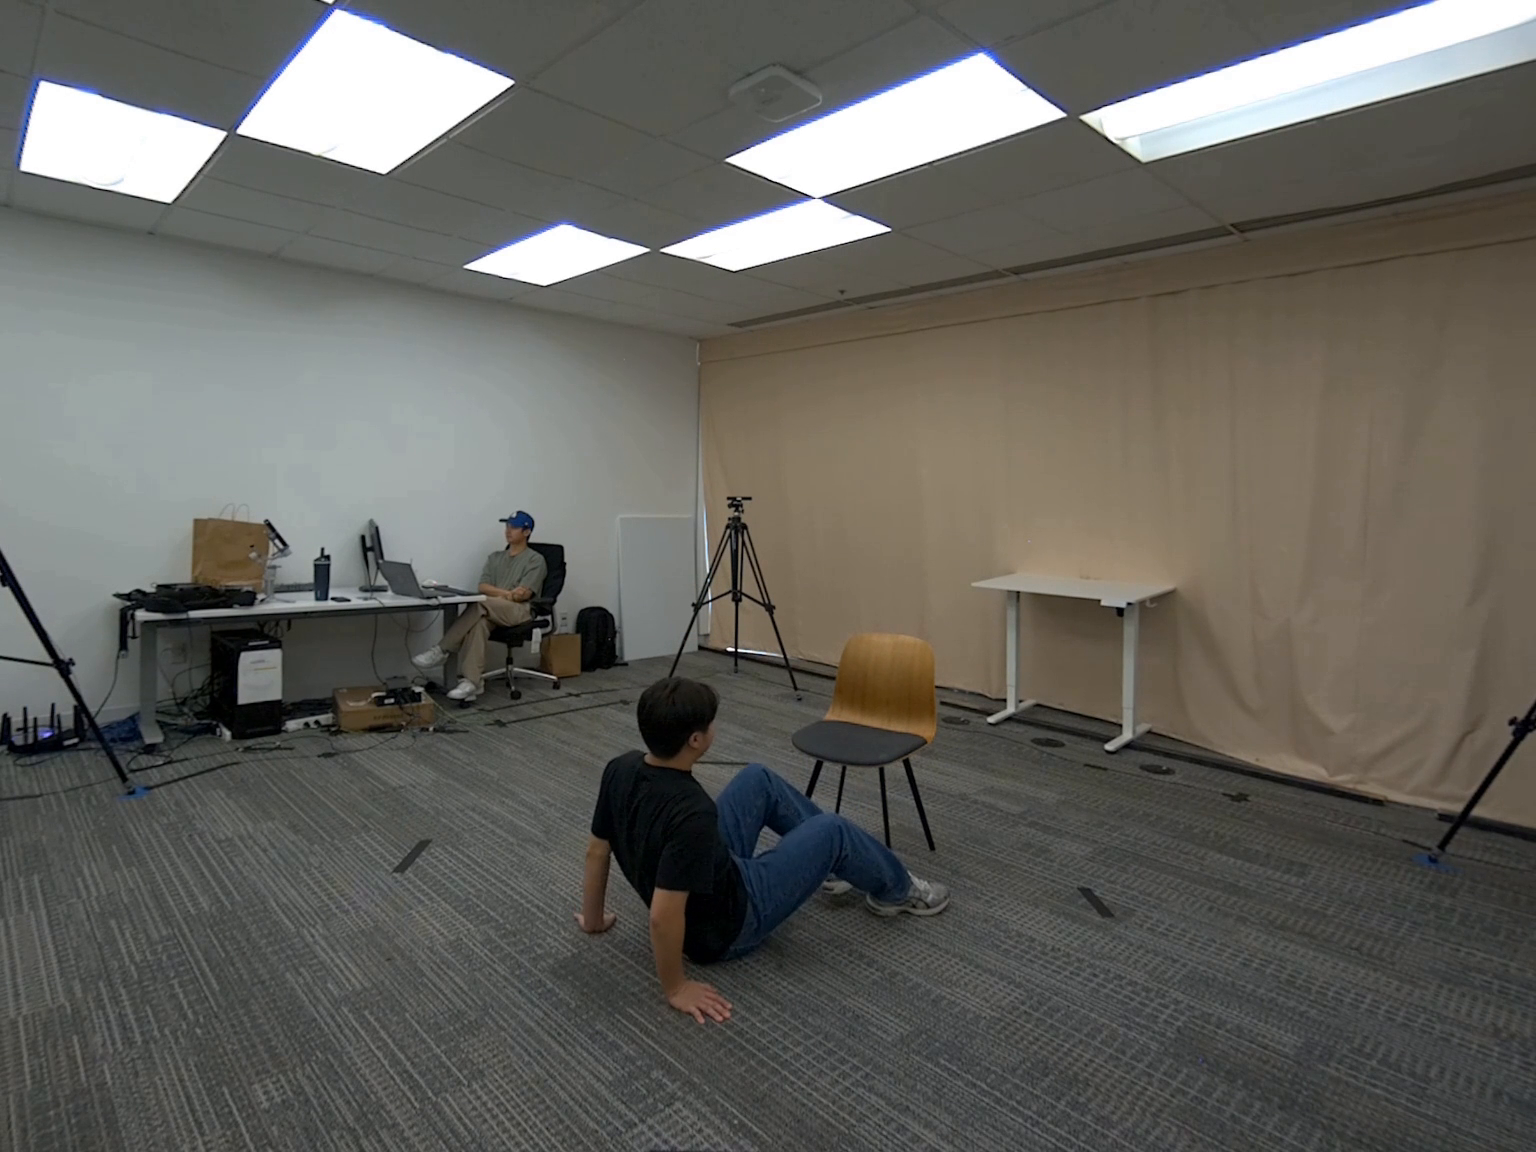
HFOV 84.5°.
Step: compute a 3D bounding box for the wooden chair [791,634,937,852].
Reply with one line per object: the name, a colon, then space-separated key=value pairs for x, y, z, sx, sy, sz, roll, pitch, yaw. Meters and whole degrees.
wooden chair: x=0.368 y=0.676 z=3.281 sx=0.489 sy=0.878 sz=0.511 roll=3 pitch=-1 yaw=32
